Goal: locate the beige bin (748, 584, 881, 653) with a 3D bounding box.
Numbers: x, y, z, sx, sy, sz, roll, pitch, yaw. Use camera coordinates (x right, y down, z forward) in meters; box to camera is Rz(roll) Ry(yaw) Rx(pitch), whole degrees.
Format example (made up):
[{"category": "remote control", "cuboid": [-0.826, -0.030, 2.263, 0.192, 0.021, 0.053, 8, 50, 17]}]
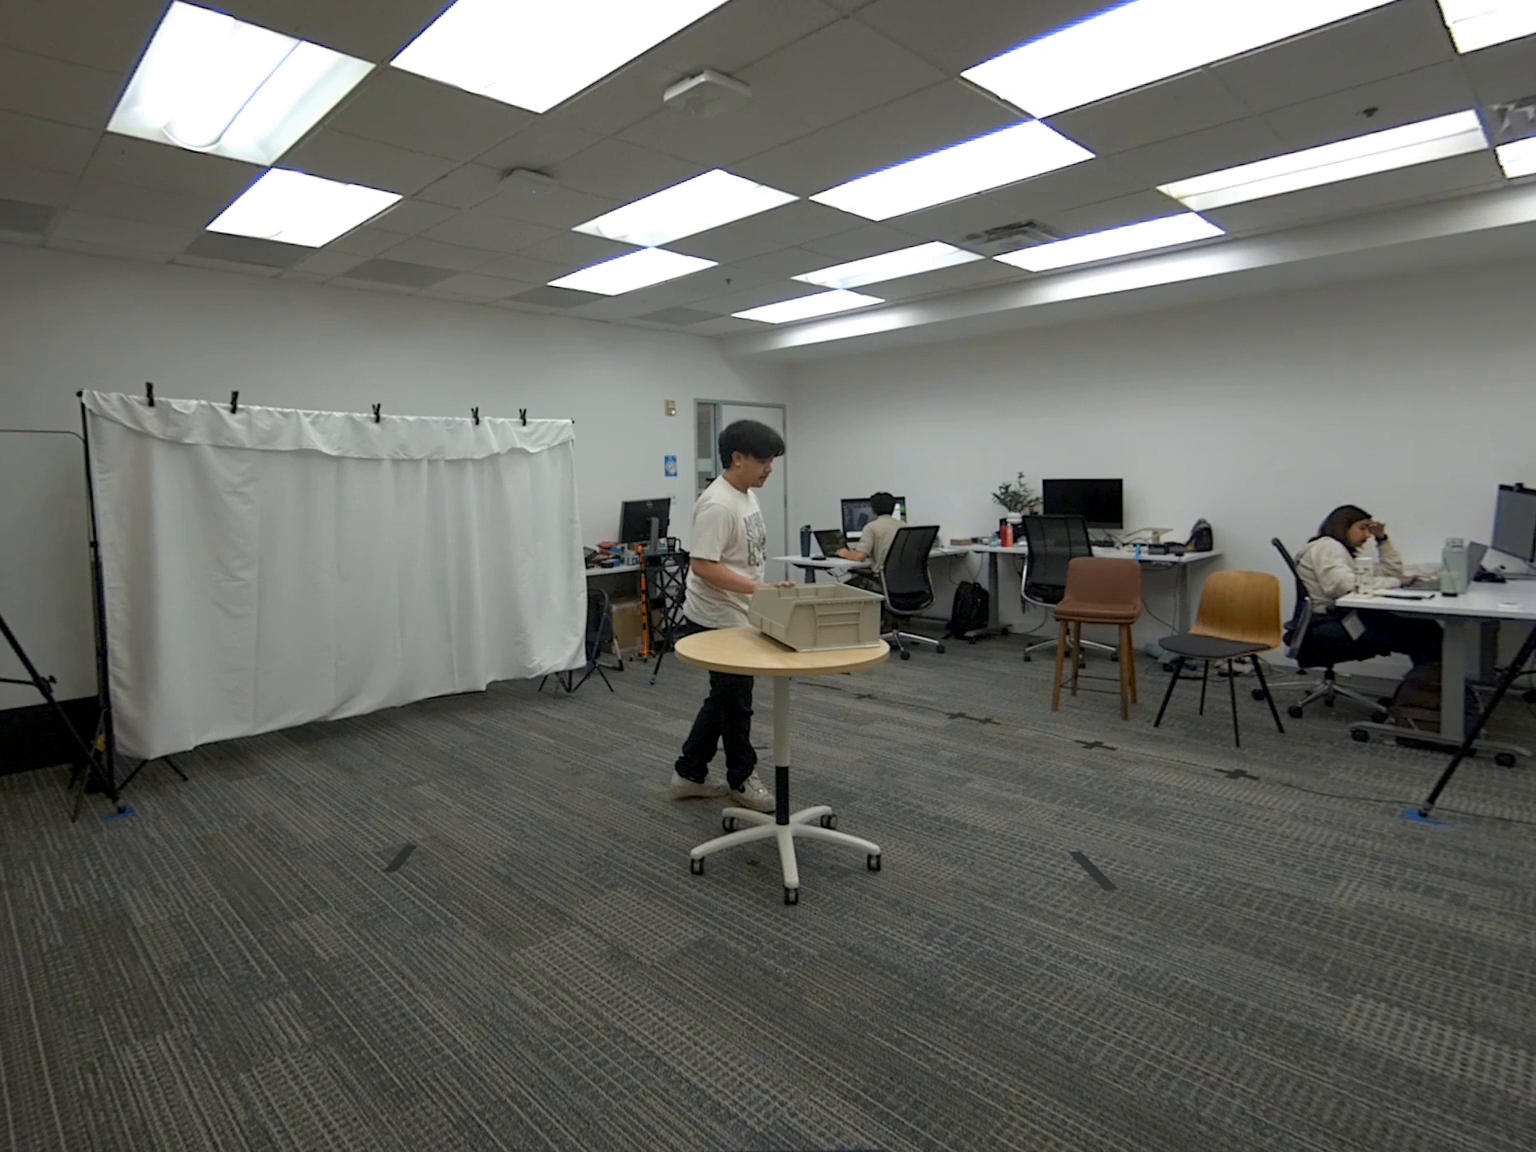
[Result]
[{"category": "beige bin", "cuboid": [0.171, 0.148, 3.142, 0.372, 0.188, 0.430, -1, 6, -17]}]
